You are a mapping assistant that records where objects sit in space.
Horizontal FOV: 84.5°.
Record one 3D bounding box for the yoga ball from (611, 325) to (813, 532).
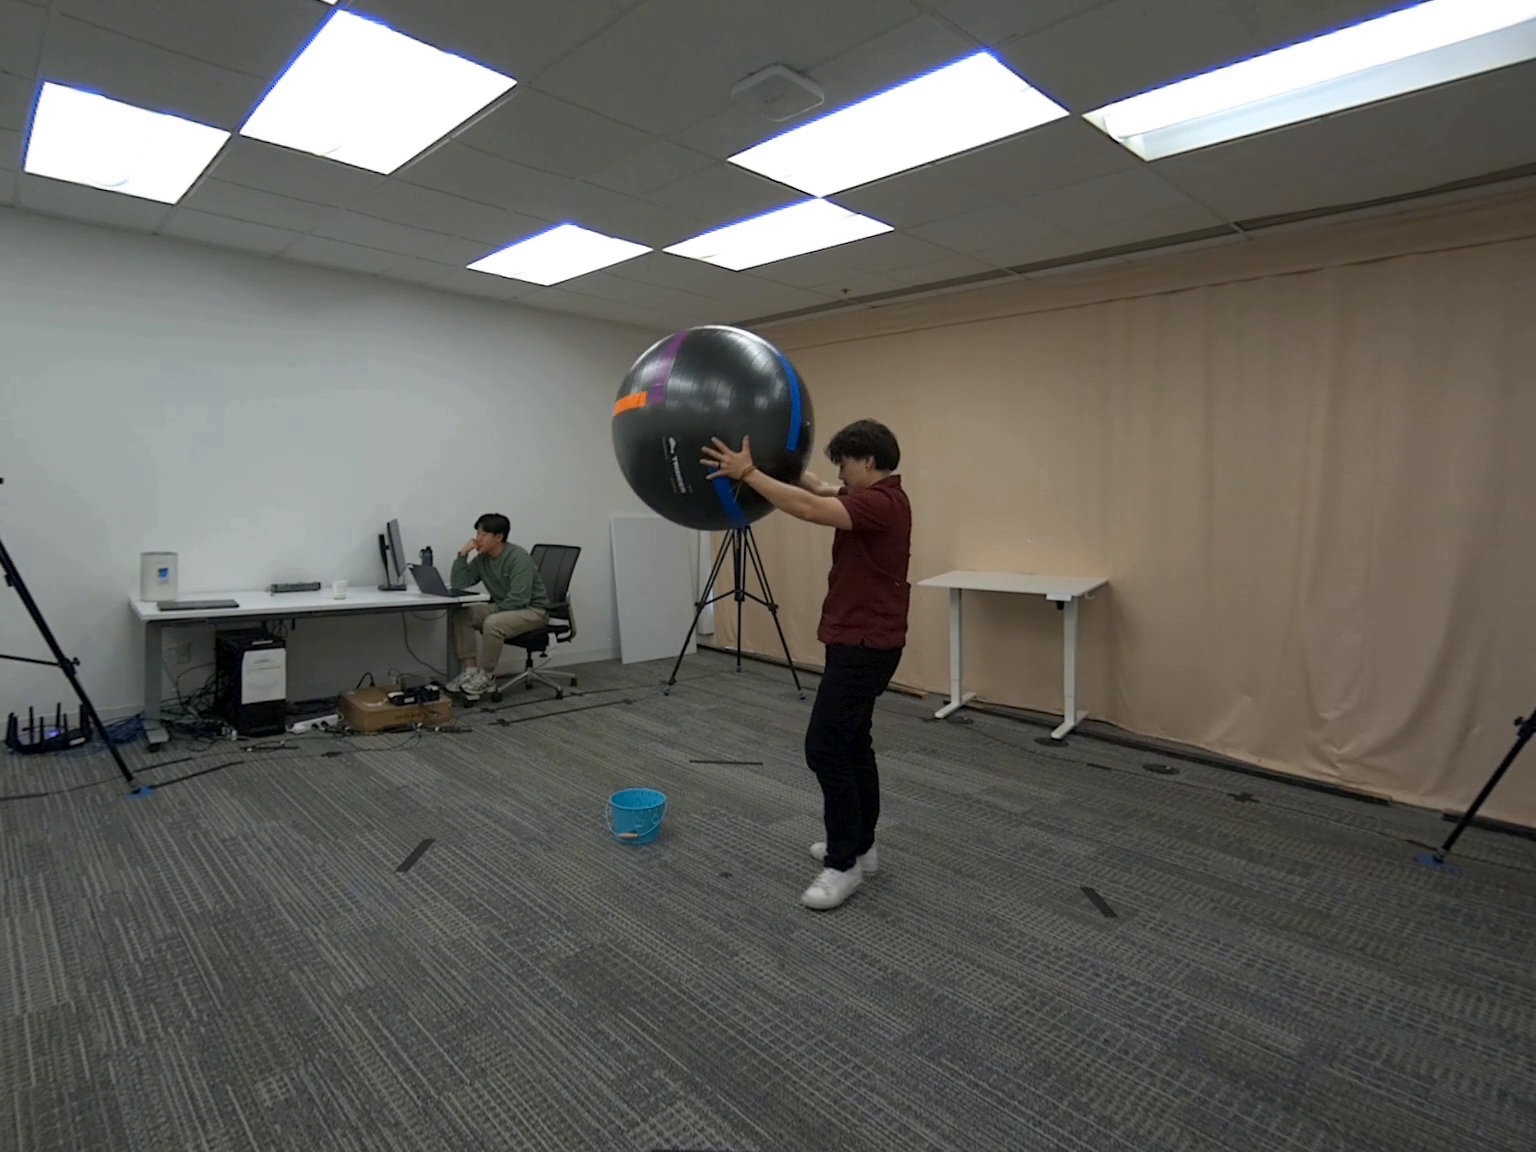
[{"bbox_3d":[-0.211,-0.539,3.156,0.757,0.756,0.761,1,4,-1],"label":"yoga ball"}]
